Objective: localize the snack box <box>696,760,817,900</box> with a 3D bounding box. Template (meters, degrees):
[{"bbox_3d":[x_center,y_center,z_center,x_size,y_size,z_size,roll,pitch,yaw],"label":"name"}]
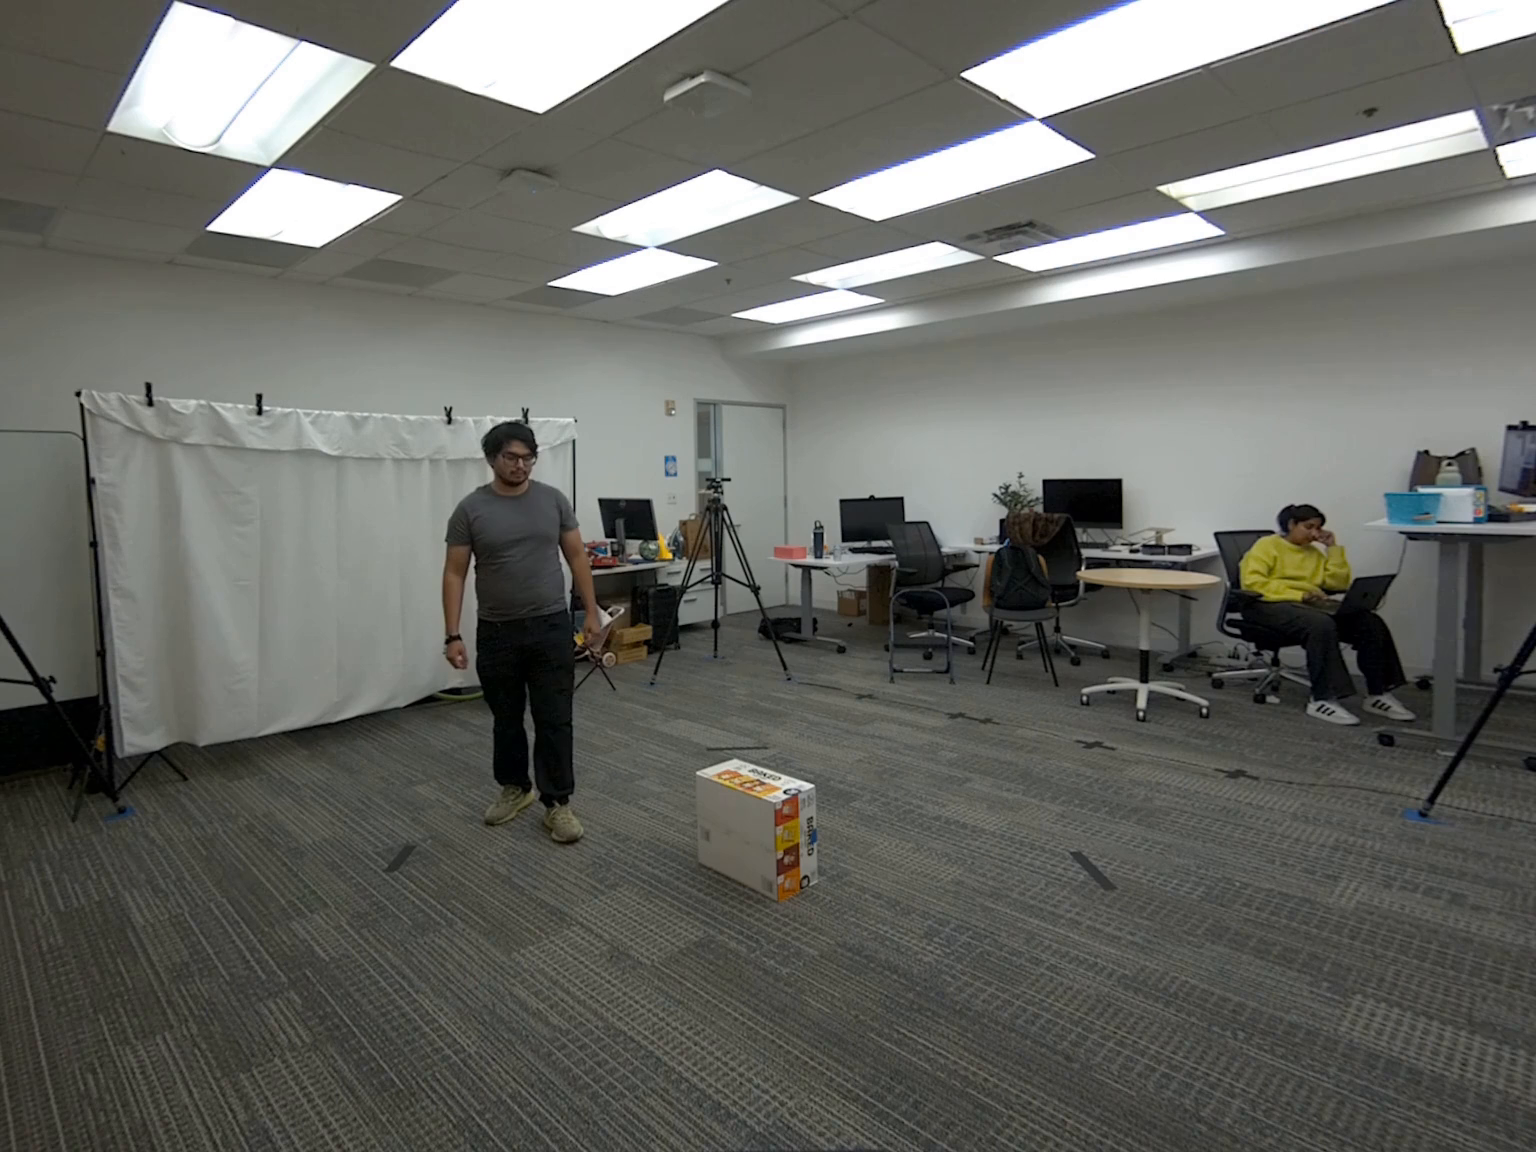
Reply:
[{"bbox_3d":[-0.043,0.882,3.015,0.200,0.339,0.417,-5,7,-44],"label":"snack box"}]
